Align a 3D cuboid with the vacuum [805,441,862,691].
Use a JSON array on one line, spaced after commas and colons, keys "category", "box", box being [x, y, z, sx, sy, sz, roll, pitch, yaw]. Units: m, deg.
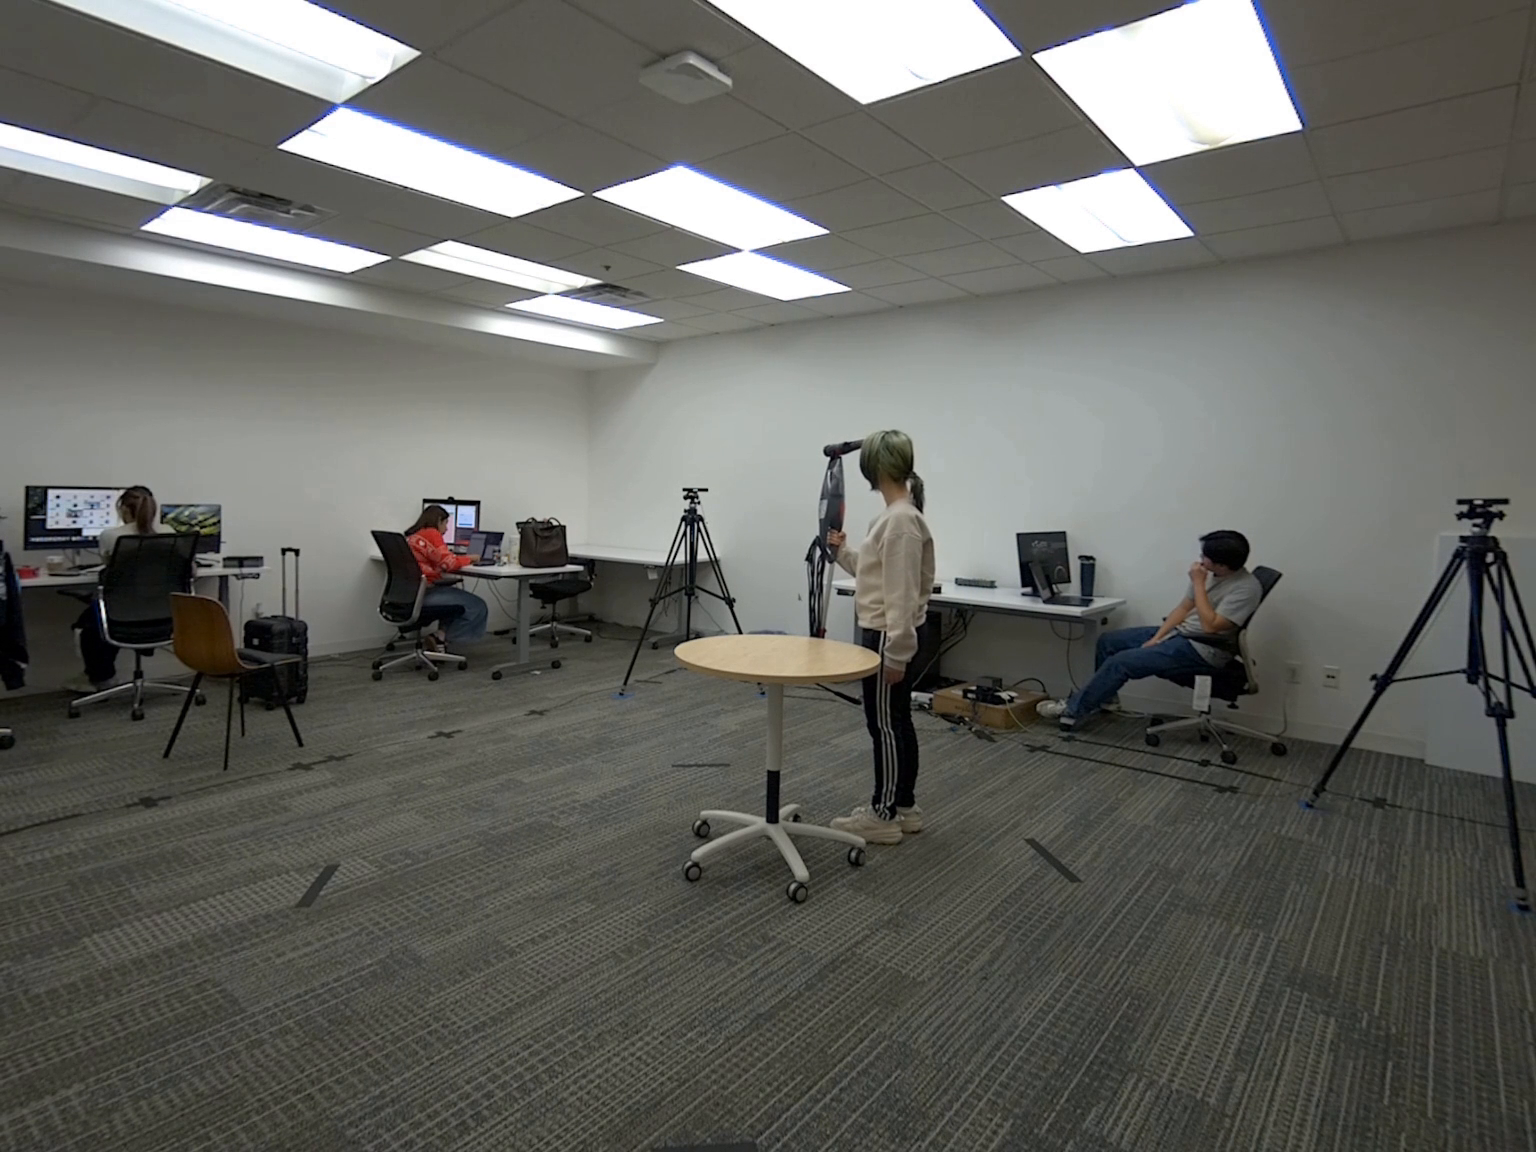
[{"category": "vacuum", "box": [0.250, -0.078, 3.710, 0.139, 1.058, 0.259, 13, -11, -30]}]
